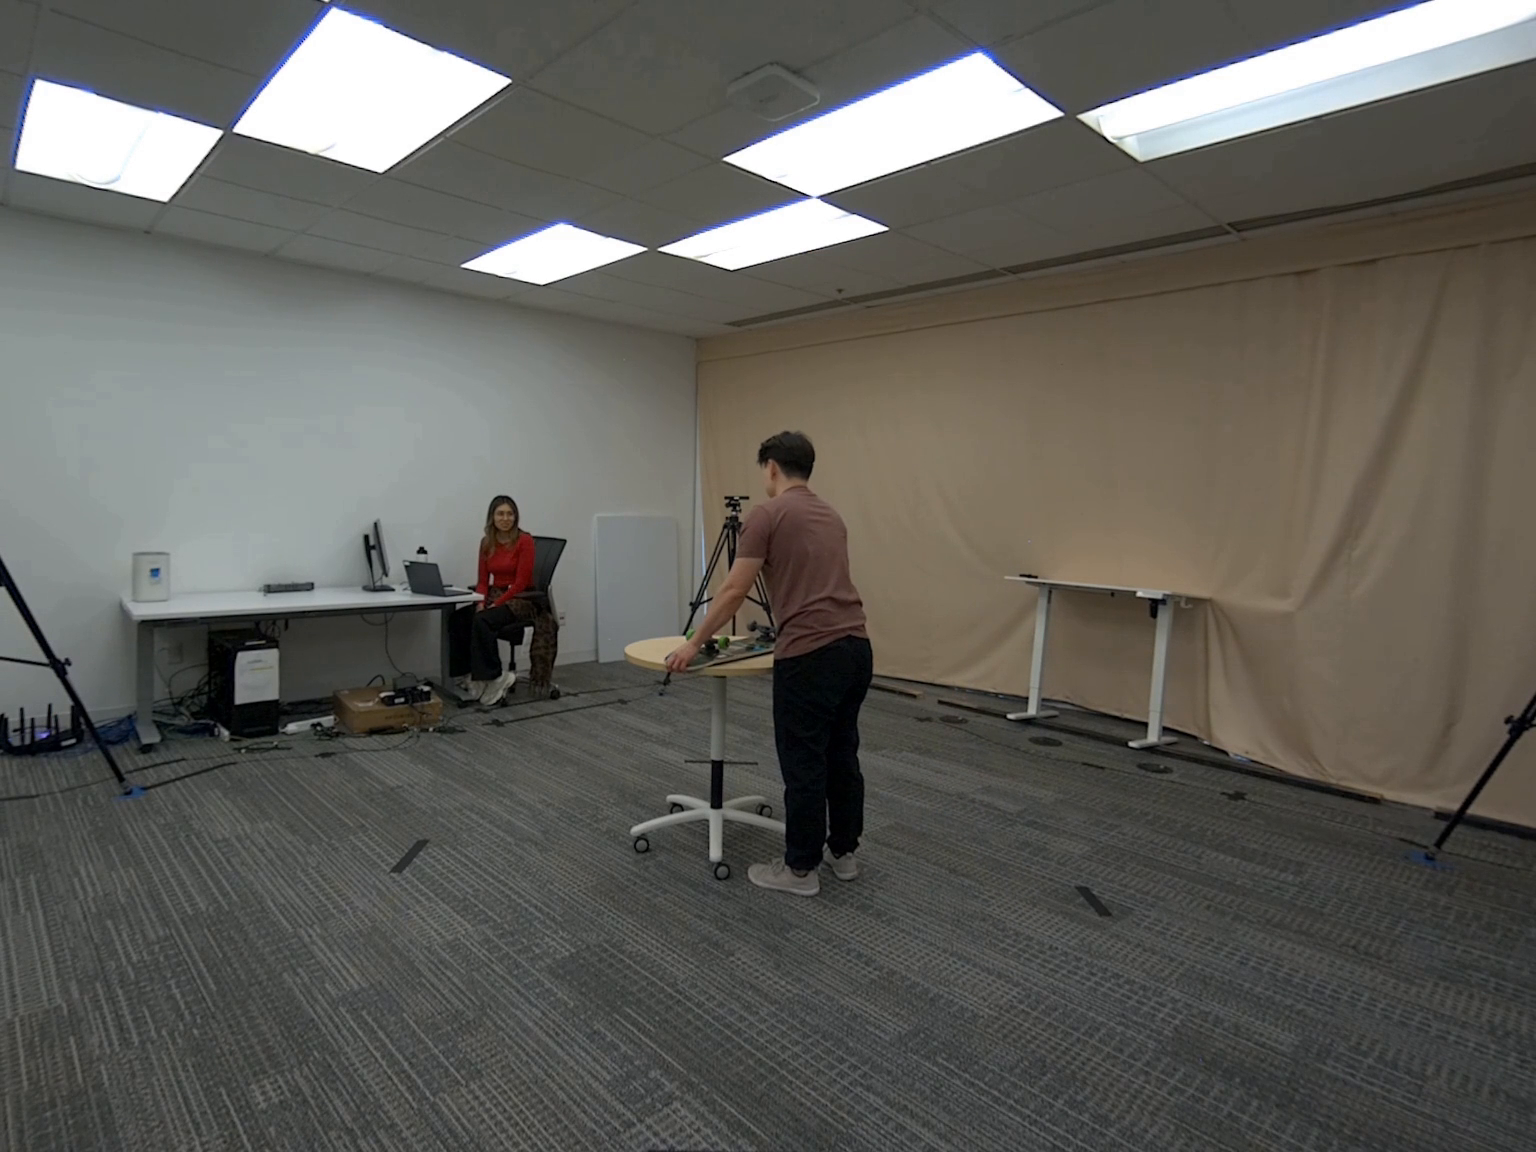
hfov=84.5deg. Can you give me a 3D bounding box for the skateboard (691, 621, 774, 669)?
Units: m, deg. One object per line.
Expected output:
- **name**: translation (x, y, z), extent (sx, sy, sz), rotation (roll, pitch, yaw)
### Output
- **skateboard**: translation (-0.125, 0.253, 3.295), extent (0.198, 0.110, 0.769), rotation (6, 7, 35)
